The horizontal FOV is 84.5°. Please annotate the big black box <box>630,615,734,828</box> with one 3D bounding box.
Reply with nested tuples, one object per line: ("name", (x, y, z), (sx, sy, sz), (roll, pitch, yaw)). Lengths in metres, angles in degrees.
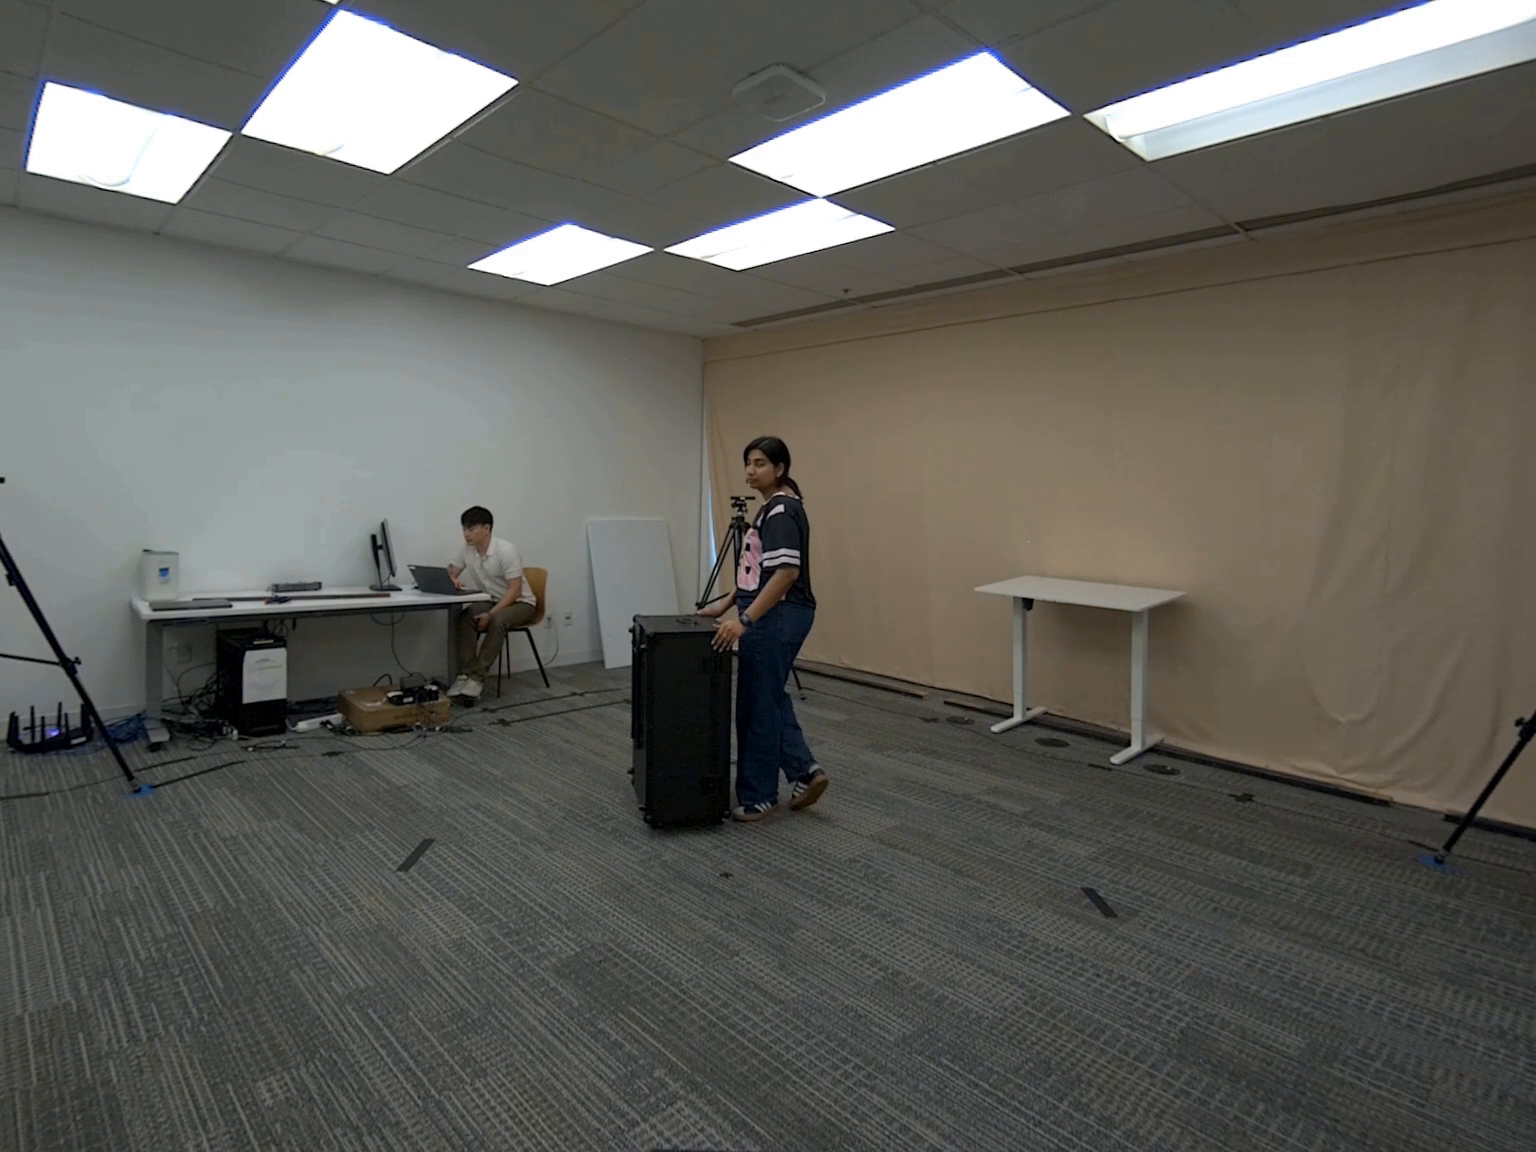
("big black box", (-0.393, 0.625, 3.646), (0.381, 0.866, 0.531), (1, 4, -15))
